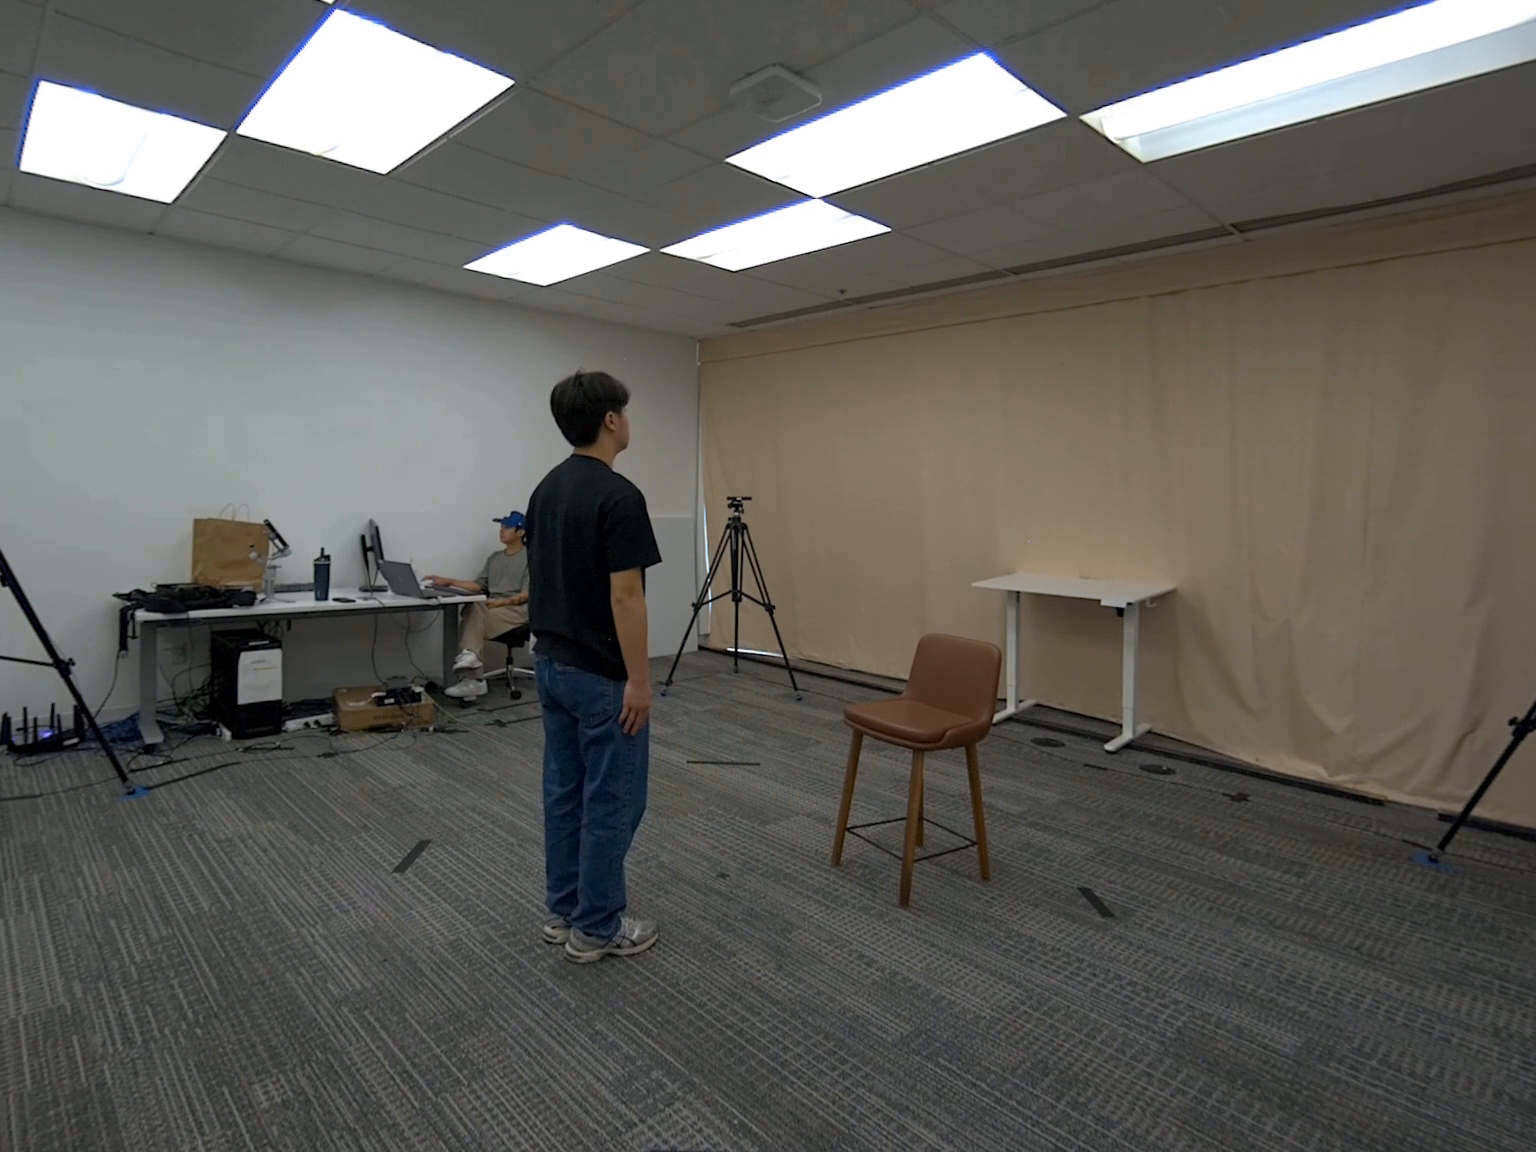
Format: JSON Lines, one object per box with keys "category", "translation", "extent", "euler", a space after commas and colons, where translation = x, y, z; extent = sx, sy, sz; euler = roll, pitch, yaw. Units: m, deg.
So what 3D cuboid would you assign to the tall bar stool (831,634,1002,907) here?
{"category": "tall bar stool", "translation": [0.551, 0.684, 3.149], "extent": [0.457, 0.888, 0.467], "euler": [2, 2, -33]}
